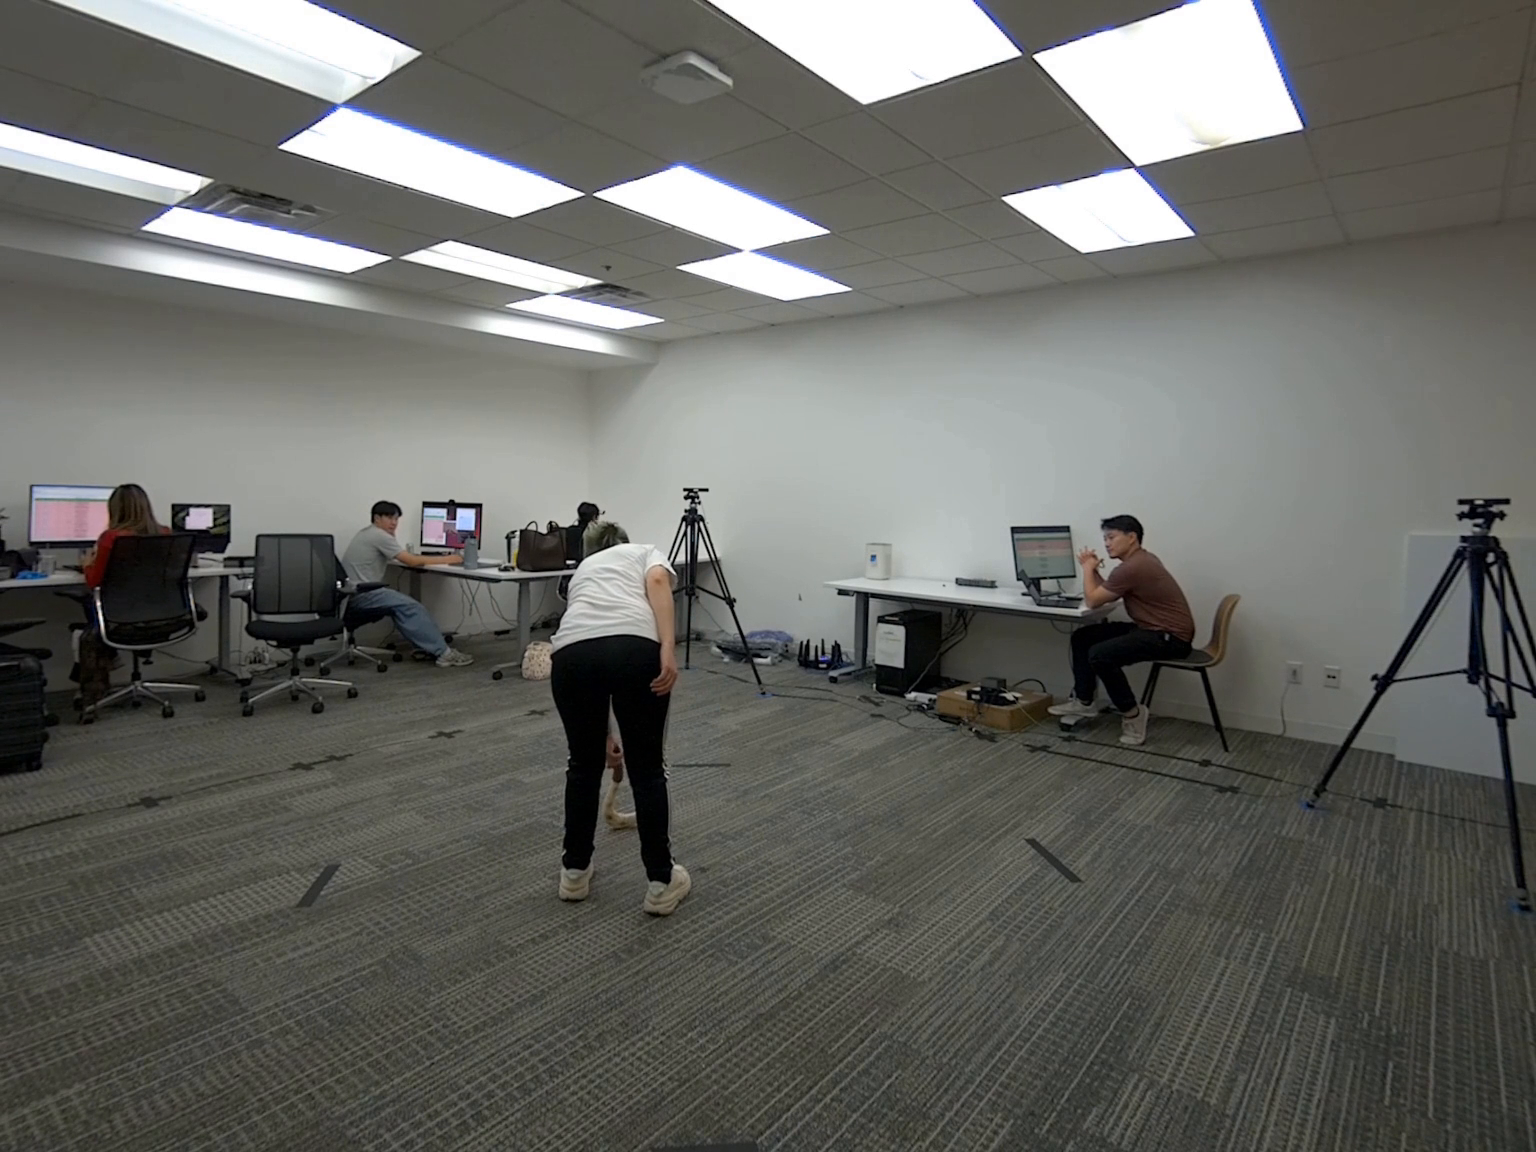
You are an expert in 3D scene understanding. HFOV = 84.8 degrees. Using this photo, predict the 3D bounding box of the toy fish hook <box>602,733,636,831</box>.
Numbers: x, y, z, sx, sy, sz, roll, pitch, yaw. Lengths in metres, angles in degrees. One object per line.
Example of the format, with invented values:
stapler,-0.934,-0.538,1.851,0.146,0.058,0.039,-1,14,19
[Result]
toy fish hook,-0.567,0.823,3.359,0.221,0.494,0.050,-8,39,-19
